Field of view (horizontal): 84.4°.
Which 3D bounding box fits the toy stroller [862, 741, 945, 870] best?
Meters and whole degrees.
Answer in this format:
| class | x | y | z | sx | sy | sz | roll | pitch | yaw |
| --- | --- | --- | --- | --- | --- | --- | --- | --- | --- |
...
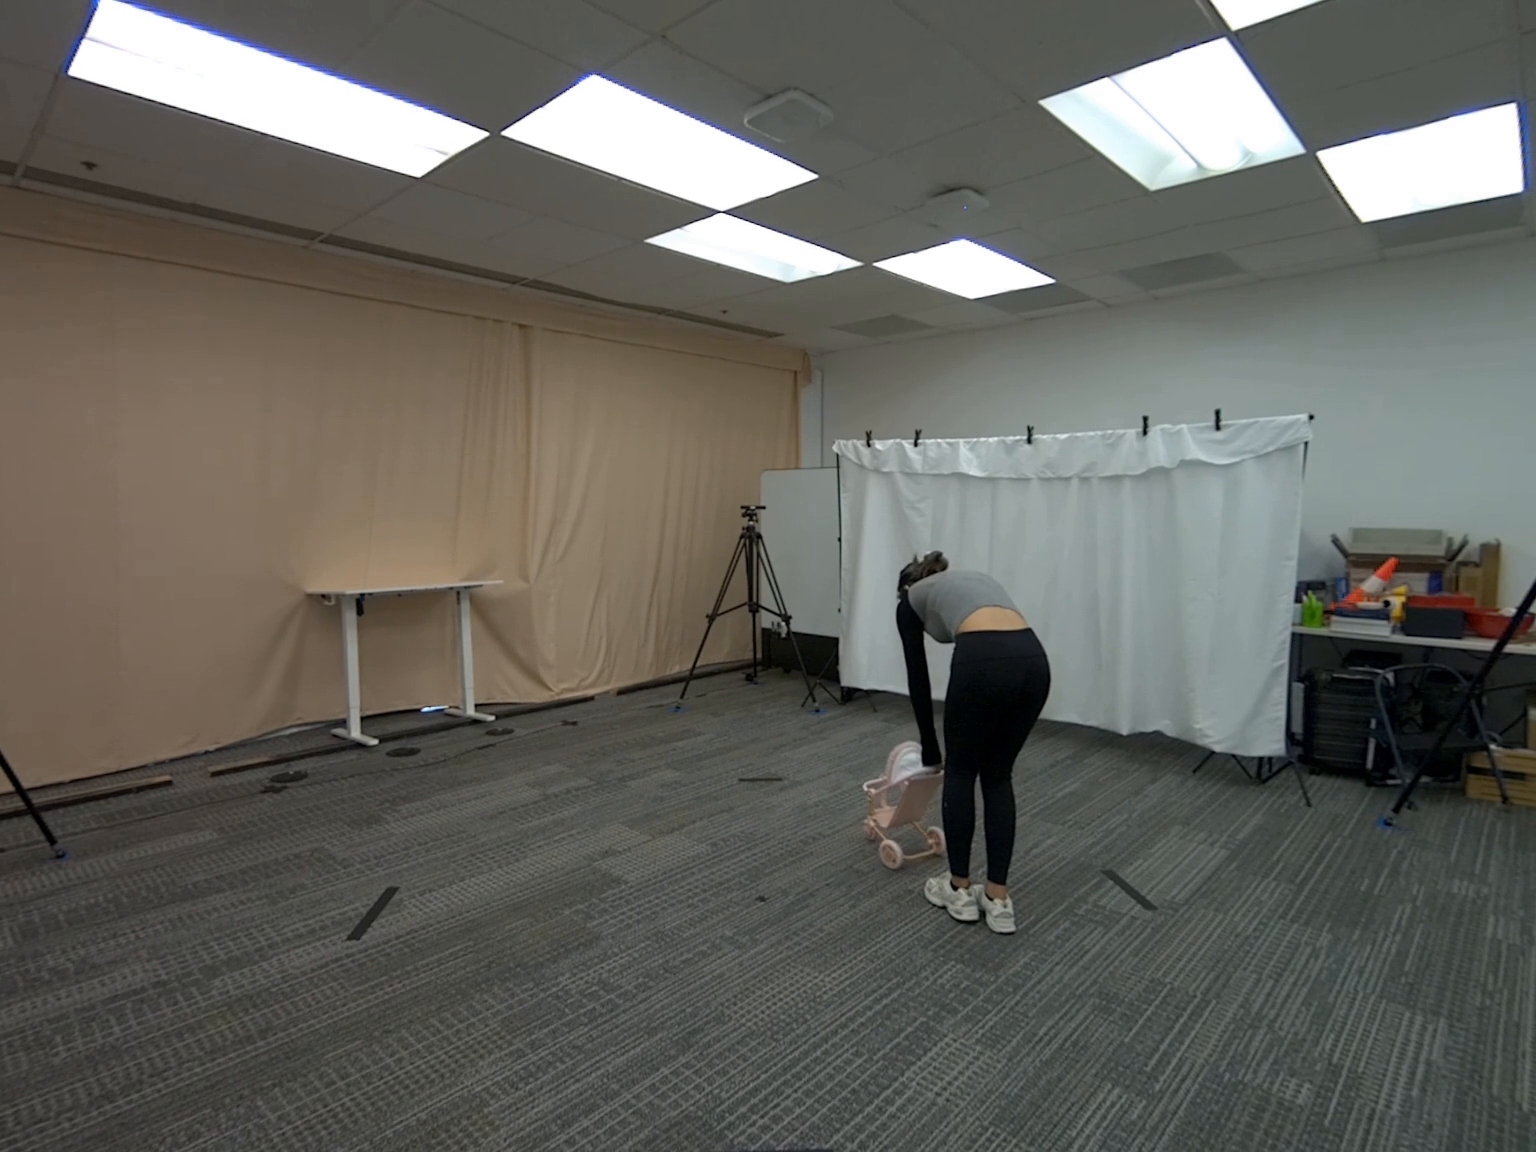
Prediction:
| class | x | y | z | sx | sy | sz | roll | pitch | yaw |
| --- | --- | --- | --- | --- | --- | --- | --- | --- | --- |
| toy stroller | 0.539 | 0.886 | 3.342 | 0.274 | 0.531 | 0.353 | -1 | 19 | -30 |
